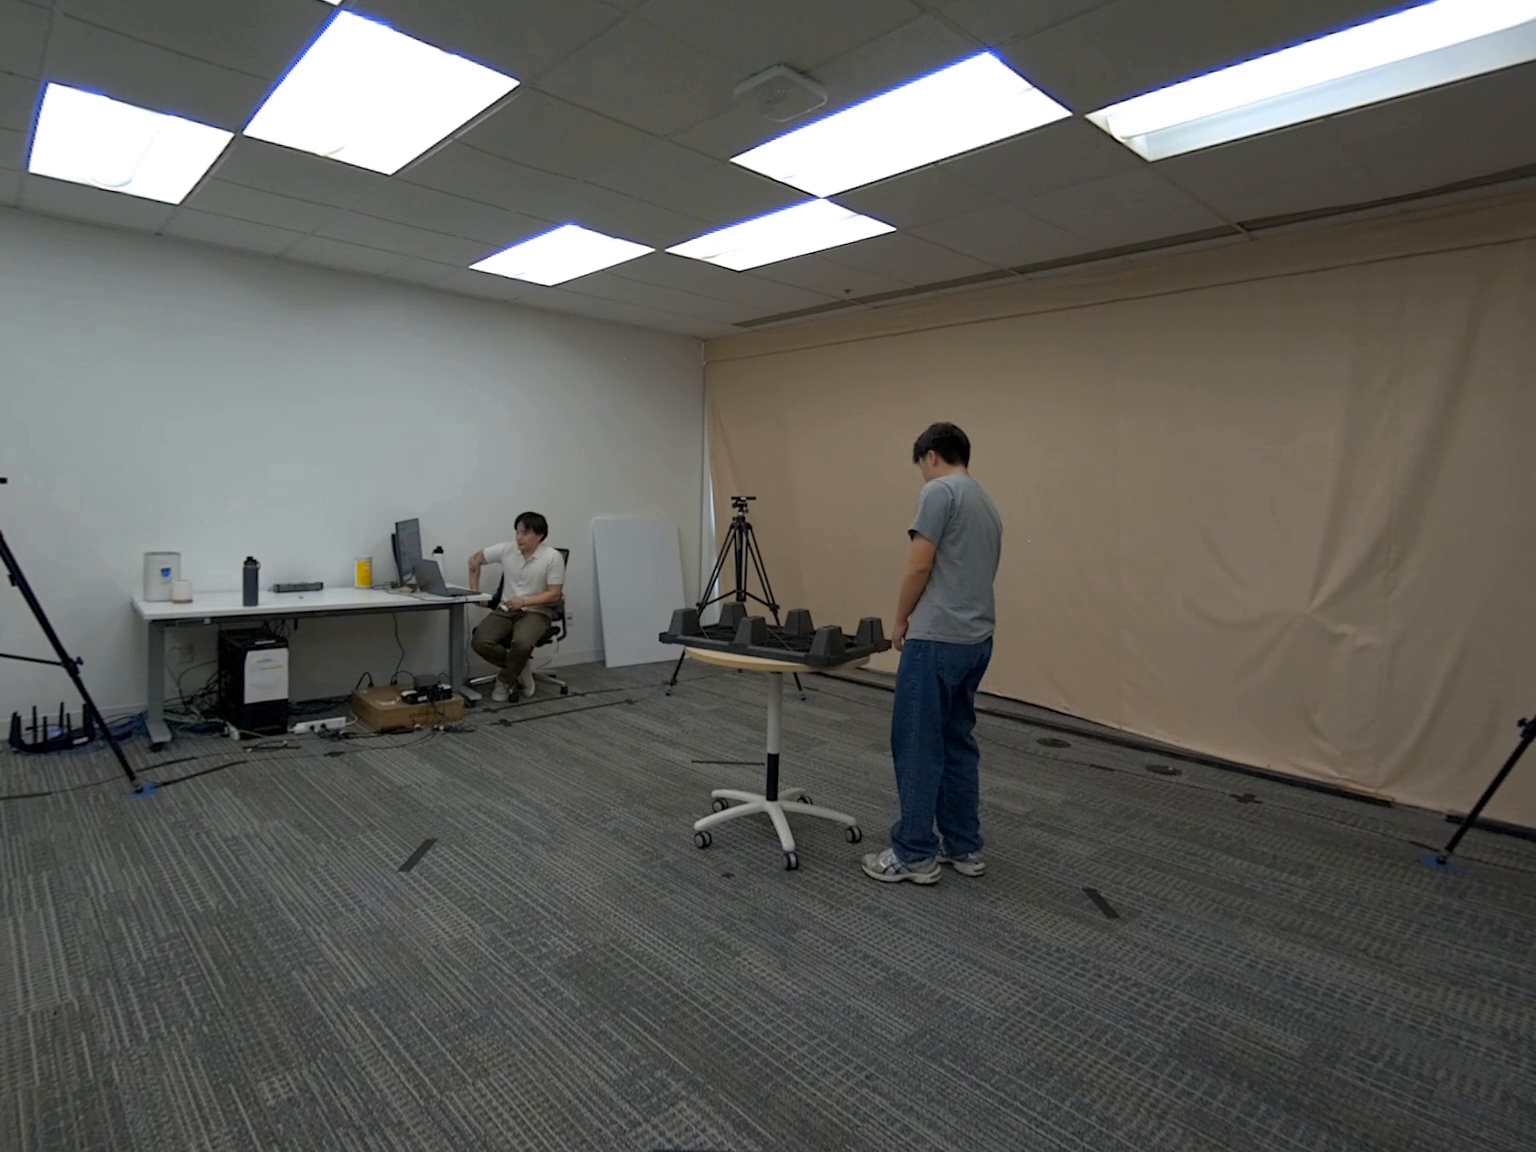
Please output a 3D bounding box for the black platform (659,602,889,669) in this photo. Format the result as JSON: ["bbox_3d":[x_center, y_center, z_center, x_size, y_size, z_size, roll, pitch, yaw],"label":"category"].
[{"bbox_3d":[0.020,0.227,3.524,0.824,0.143,0.592,5,5,33],"label":"black platform"}]
